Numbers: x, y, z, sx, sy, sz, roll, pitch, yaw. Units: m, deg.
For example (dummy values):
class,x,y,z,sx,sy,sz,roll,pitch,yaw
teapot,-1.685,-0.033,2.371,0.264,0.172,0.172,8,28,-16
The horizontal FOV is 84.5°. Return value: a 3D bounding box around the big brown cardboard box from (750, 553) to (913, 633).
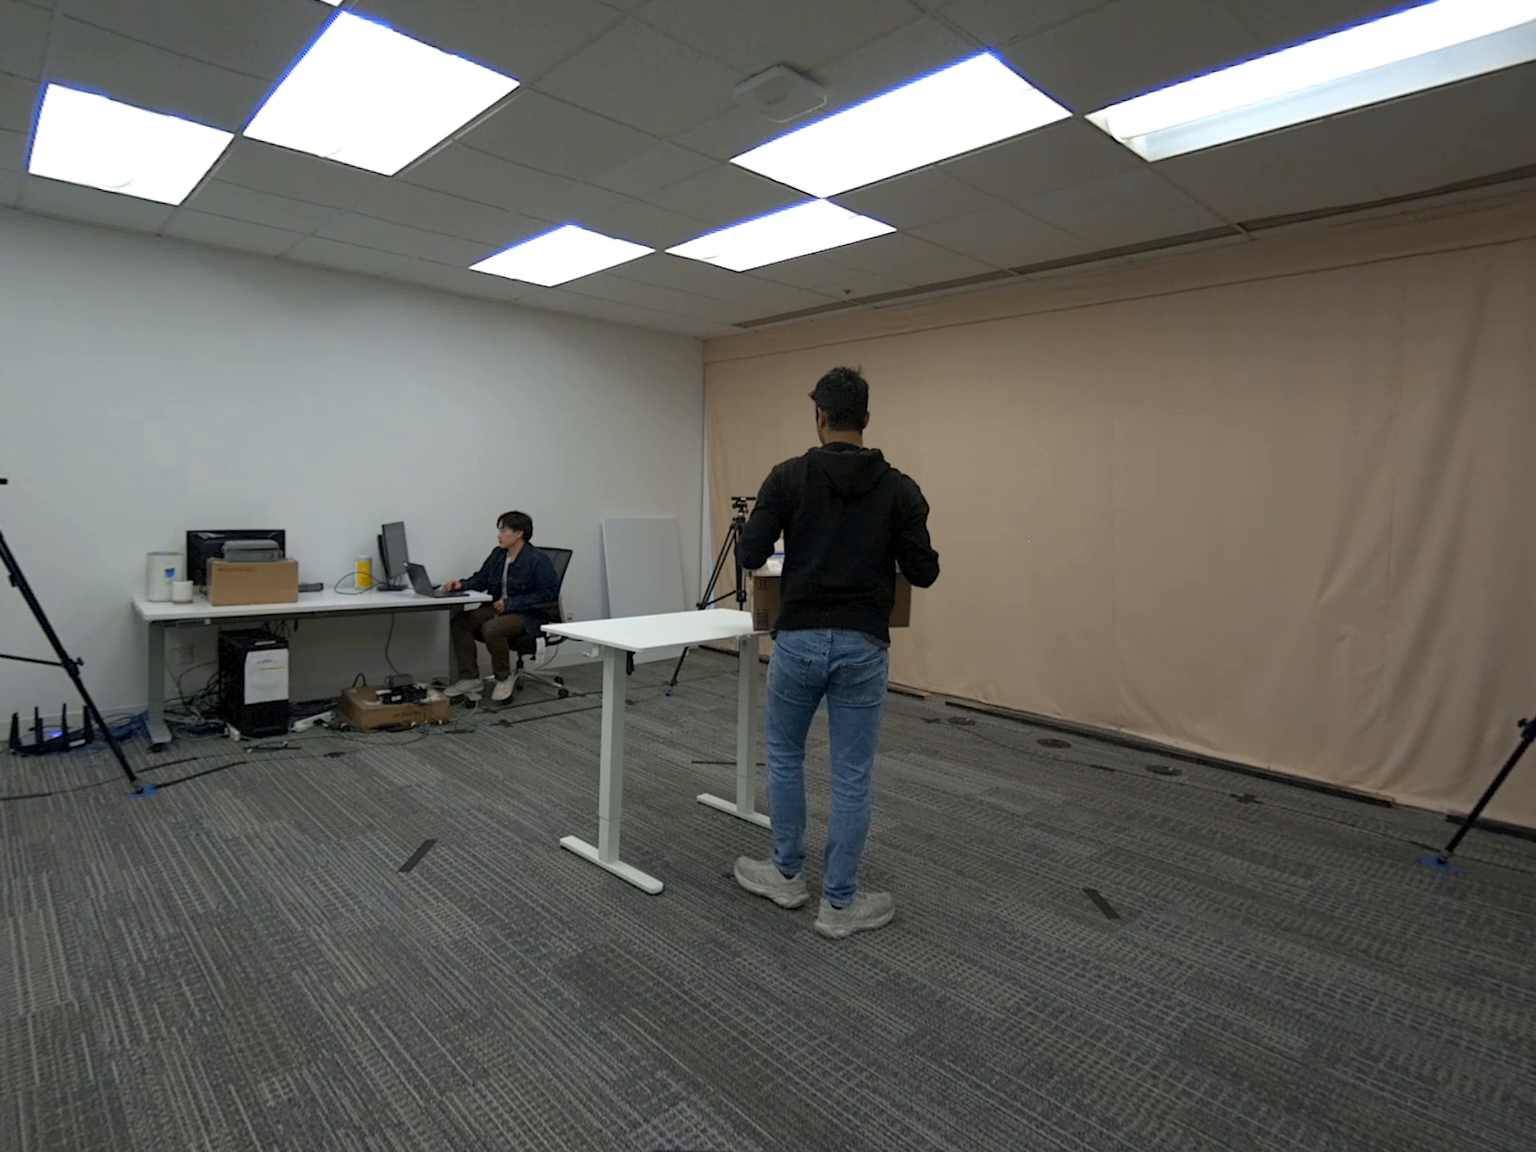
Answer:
class,x,y,z,sx,sy,sz,roll,pitch,yaw
big brown cardboard box,0.208,0.031,3.160,0.587,0.230,0.424,-1,17,-5
